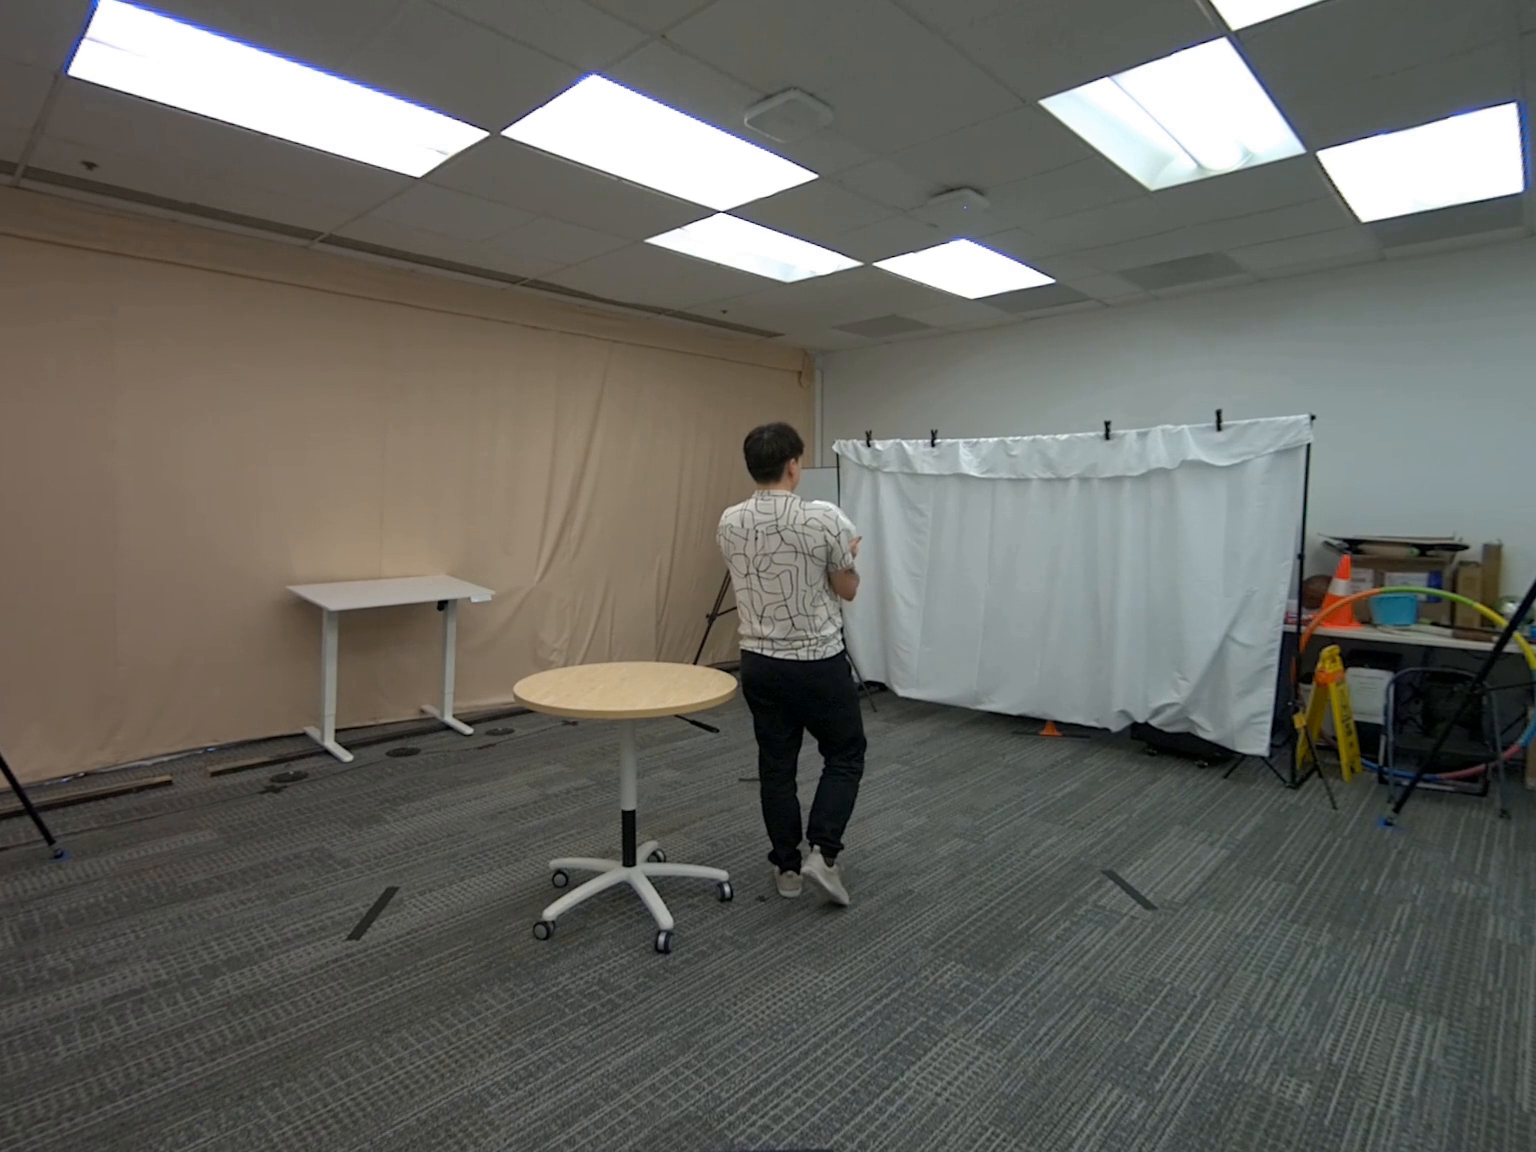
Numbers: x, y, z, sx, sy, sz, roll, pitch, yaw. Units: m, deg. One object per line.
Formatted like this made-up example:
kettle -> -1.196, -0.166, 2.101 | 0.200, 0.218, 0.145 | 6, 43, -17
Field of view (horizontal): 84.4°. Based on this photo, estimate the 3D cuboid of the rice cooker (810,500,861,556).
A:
rice cooker -> 0.228, -0.173, 3.304 | 0.216, 0.216, 0.239 | -18, 30, -7
